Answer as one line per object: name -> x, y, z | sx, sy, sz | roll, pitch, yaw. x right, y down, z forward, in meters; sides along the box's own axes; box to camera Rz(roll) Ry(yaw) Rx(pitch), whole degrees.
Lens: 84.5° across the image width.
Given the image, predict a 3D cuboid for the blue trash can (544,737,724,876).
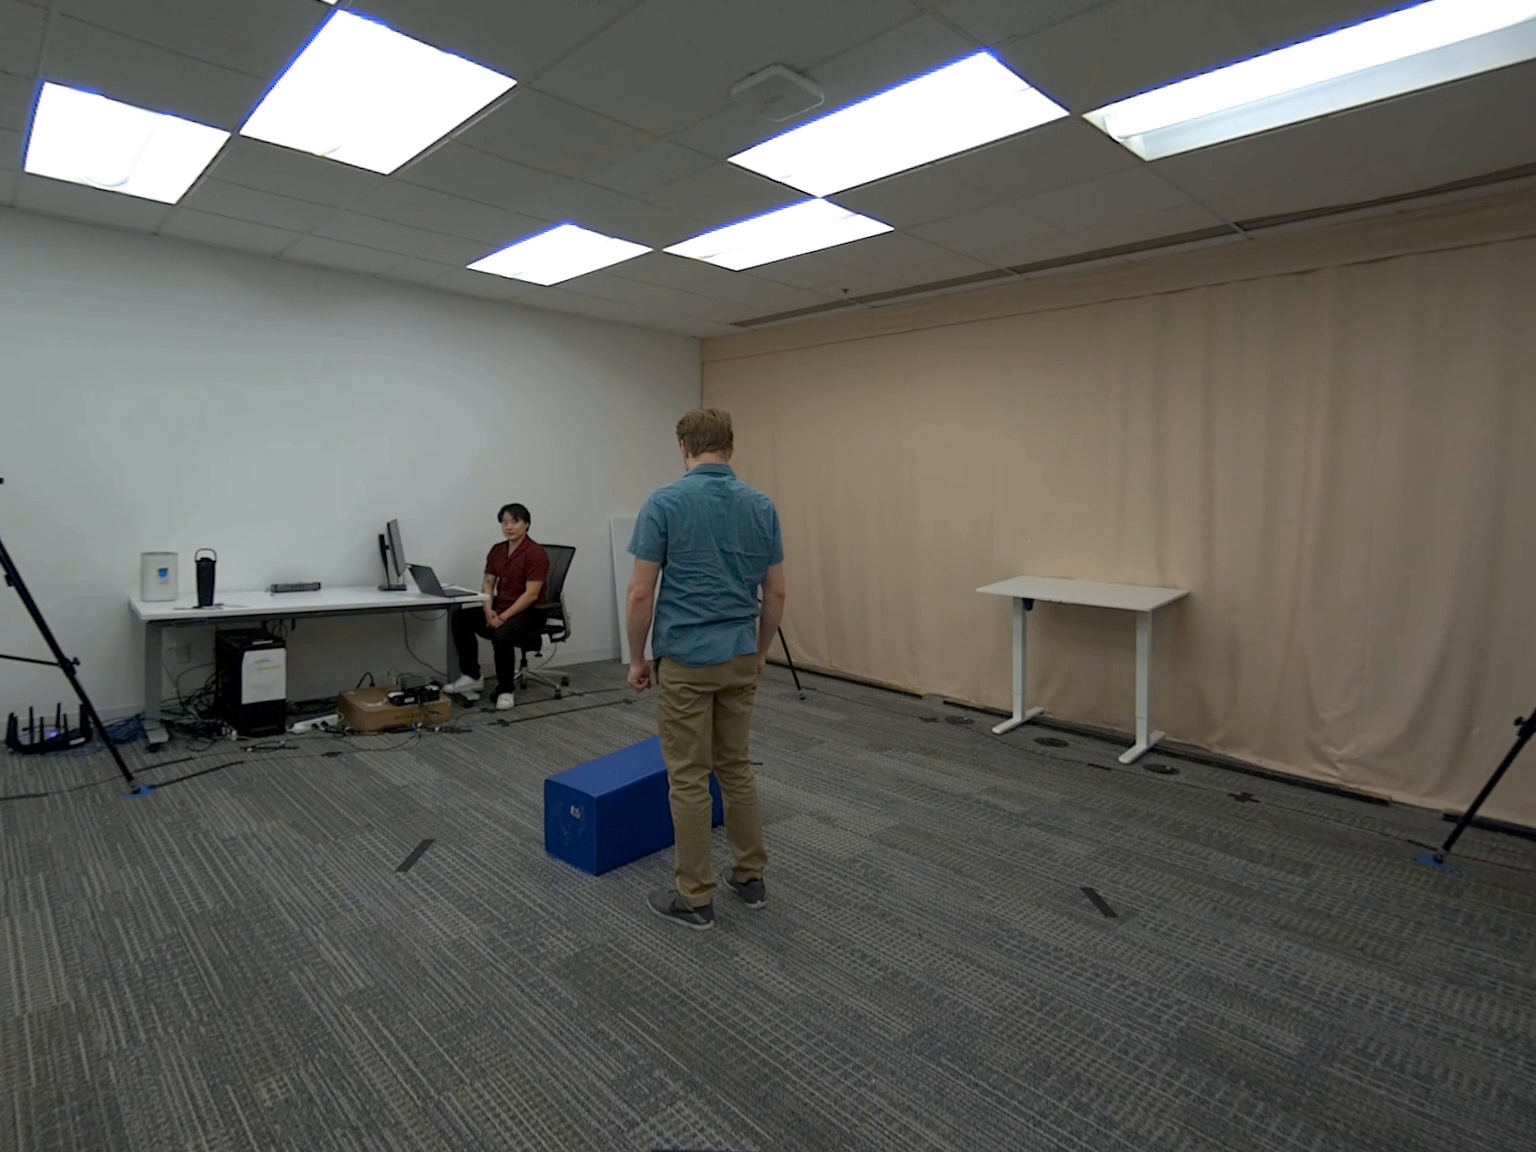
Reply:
blue trash can -> -0.529, 0.906, 3.411 | 0.383, 0.376, 0.699 | 5, 9, 38
